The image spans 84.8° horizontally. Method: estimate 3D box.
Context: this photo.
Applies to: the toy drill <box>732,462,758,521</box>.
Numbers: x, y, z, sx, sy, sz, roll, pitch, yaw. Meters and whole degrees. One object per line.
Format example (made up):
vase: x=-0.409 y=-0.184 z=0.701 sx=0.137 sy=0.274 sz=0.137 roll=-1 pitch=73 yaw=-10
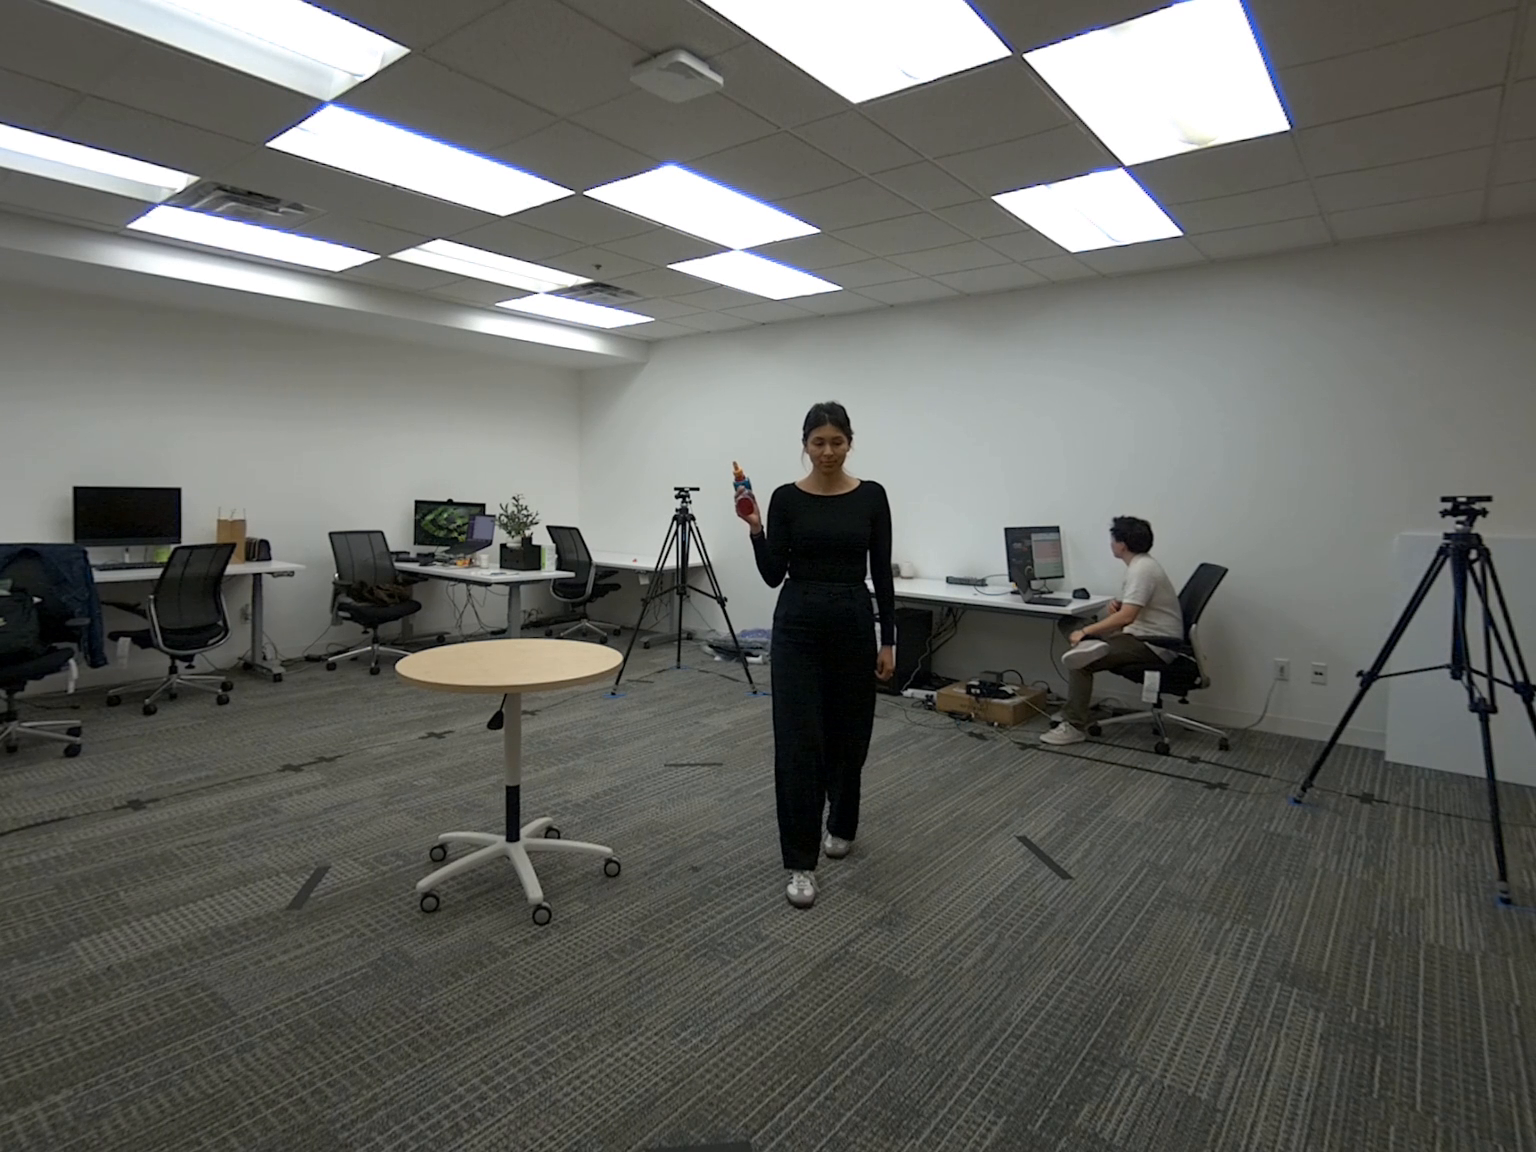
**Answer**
toy drill: x=-0.093 y=-0.311 z=2.921 sx=0.061 sy=0.165 sz=0.150 roll=-12 pitch=29 yaw=3
